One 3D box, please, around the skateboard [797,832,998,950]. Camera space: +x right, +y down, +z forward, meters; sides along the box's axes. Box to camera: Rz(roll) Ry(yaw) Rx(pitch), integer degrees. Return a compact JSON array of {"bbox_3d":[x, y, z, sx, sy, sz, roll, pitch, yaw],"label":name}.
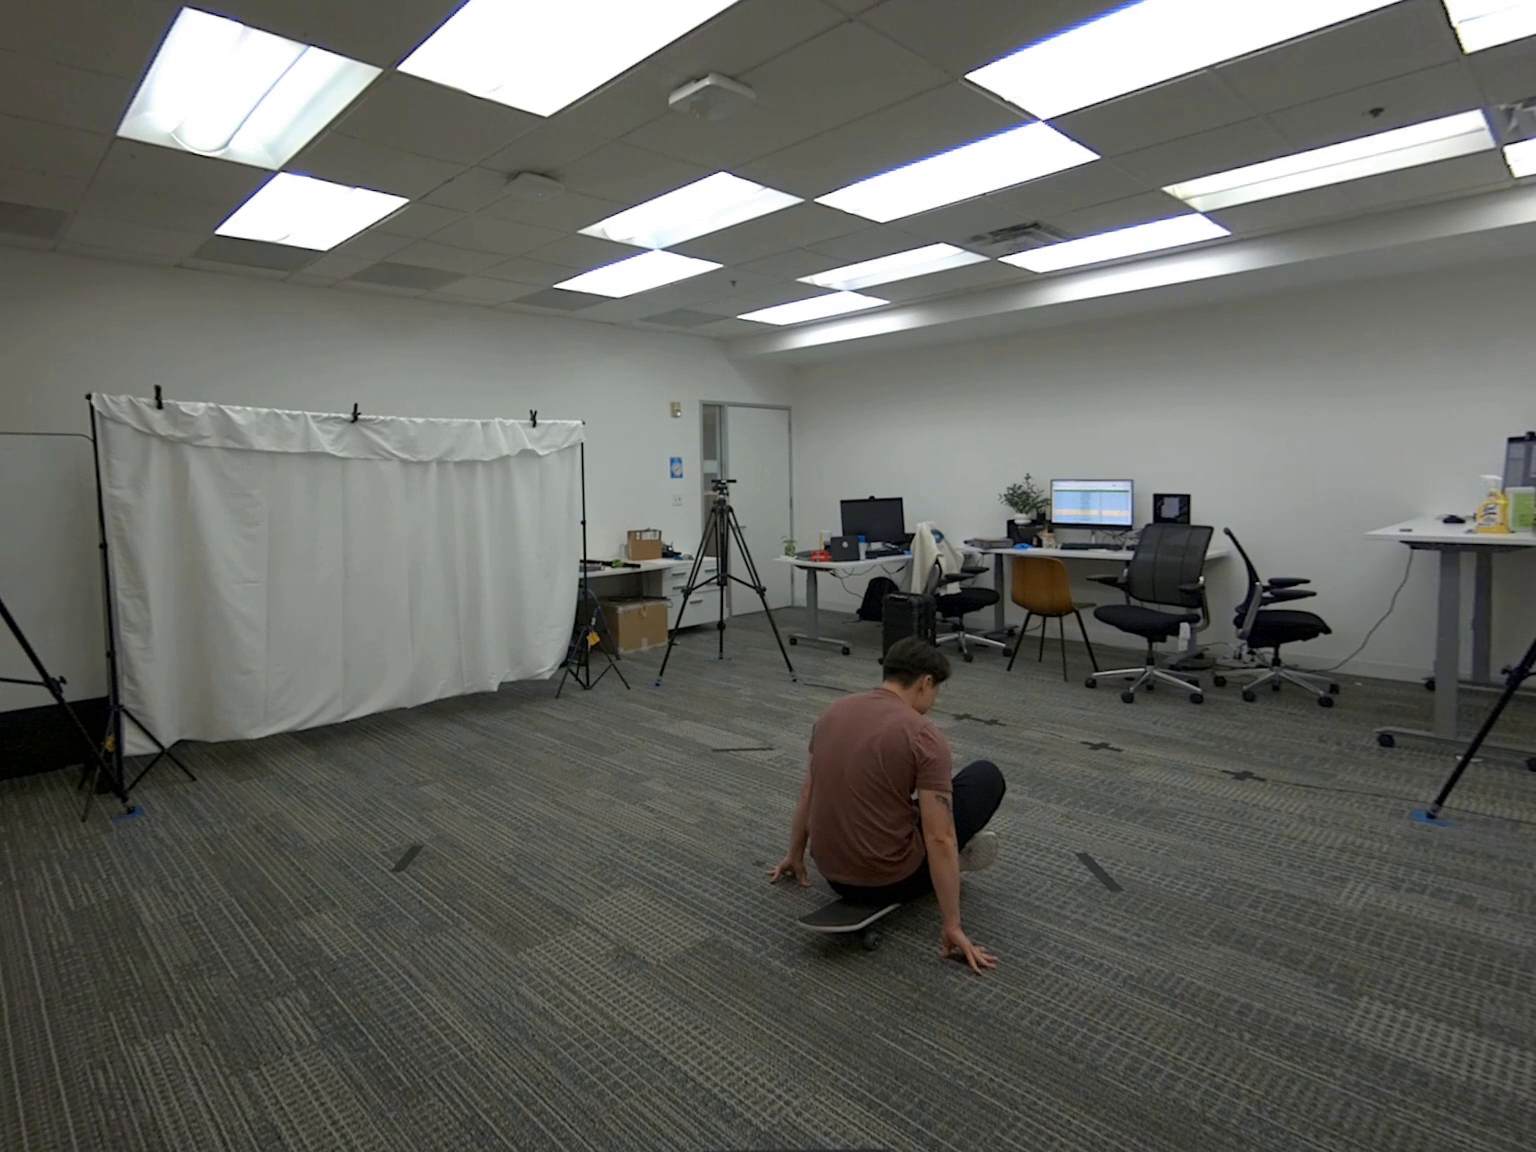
[{"bbox_3d":[0.406,1.027,2.721,0.766,0.111,0.197,-9,-4,-42],"label":"skateboard"}]
